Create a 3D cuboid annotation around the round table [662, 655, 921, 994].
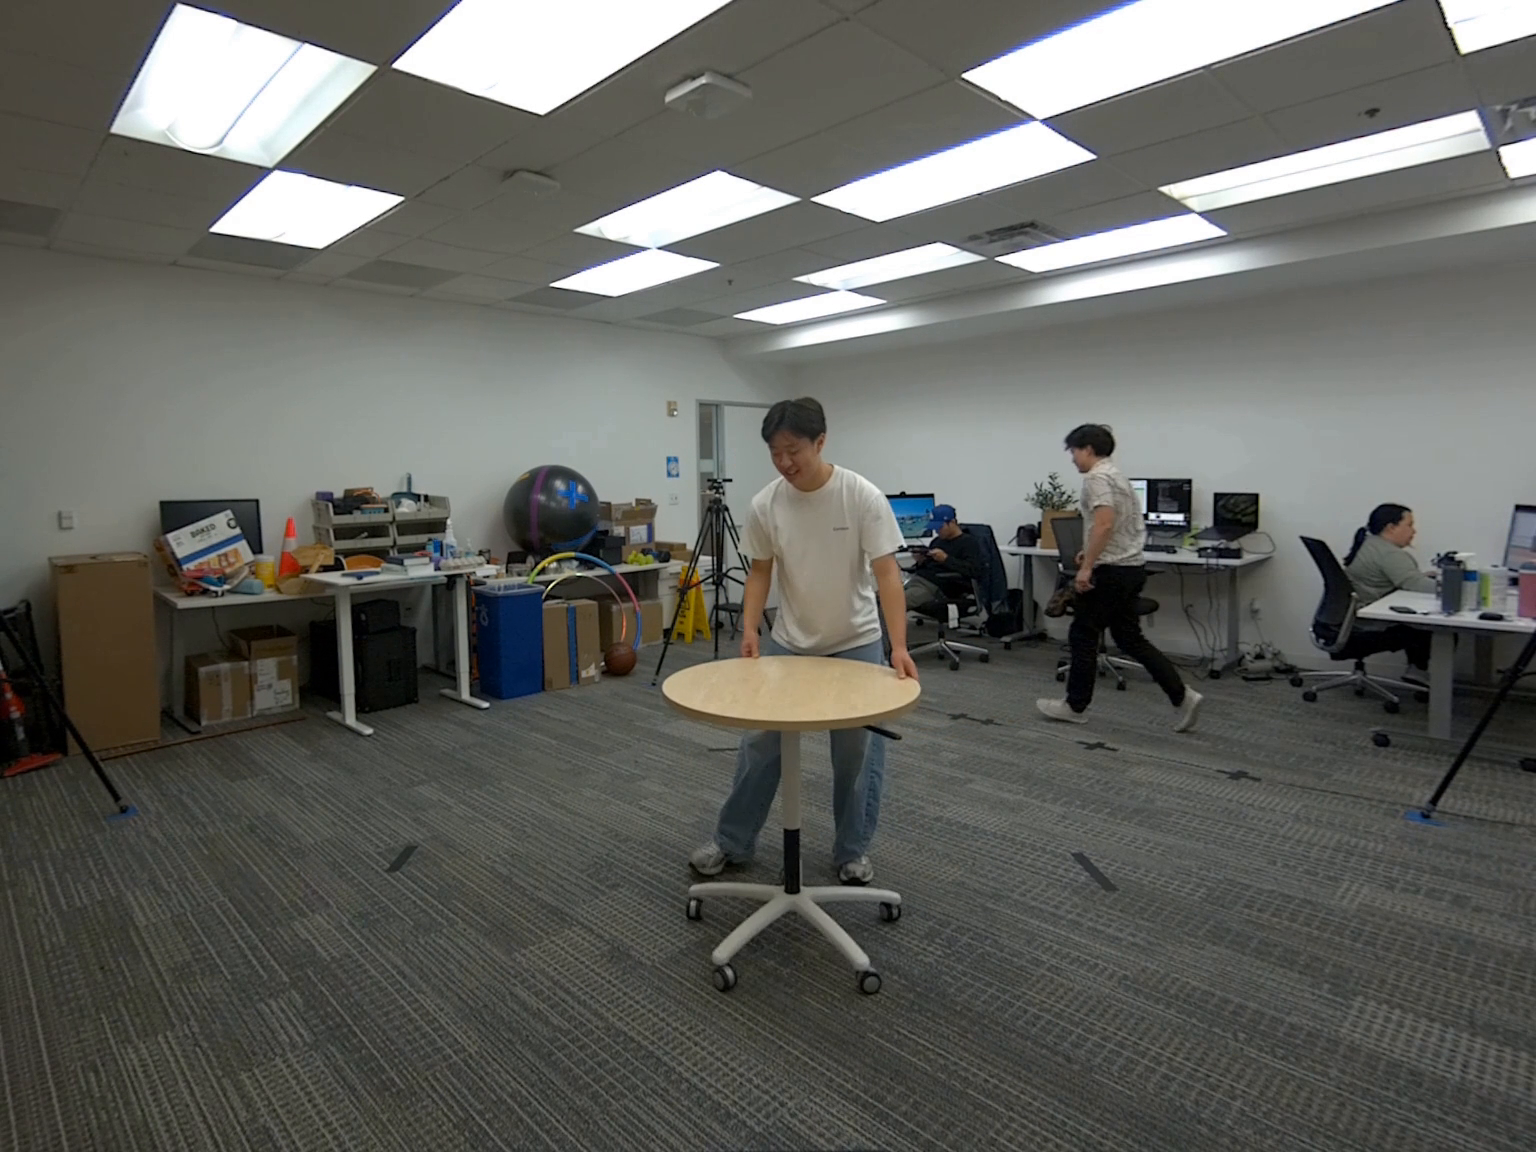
[{"bbox_3d":[0.077,0.712,2.571,0.784,0.783,0.789,-1,5,-2],"label":"round table"}]
